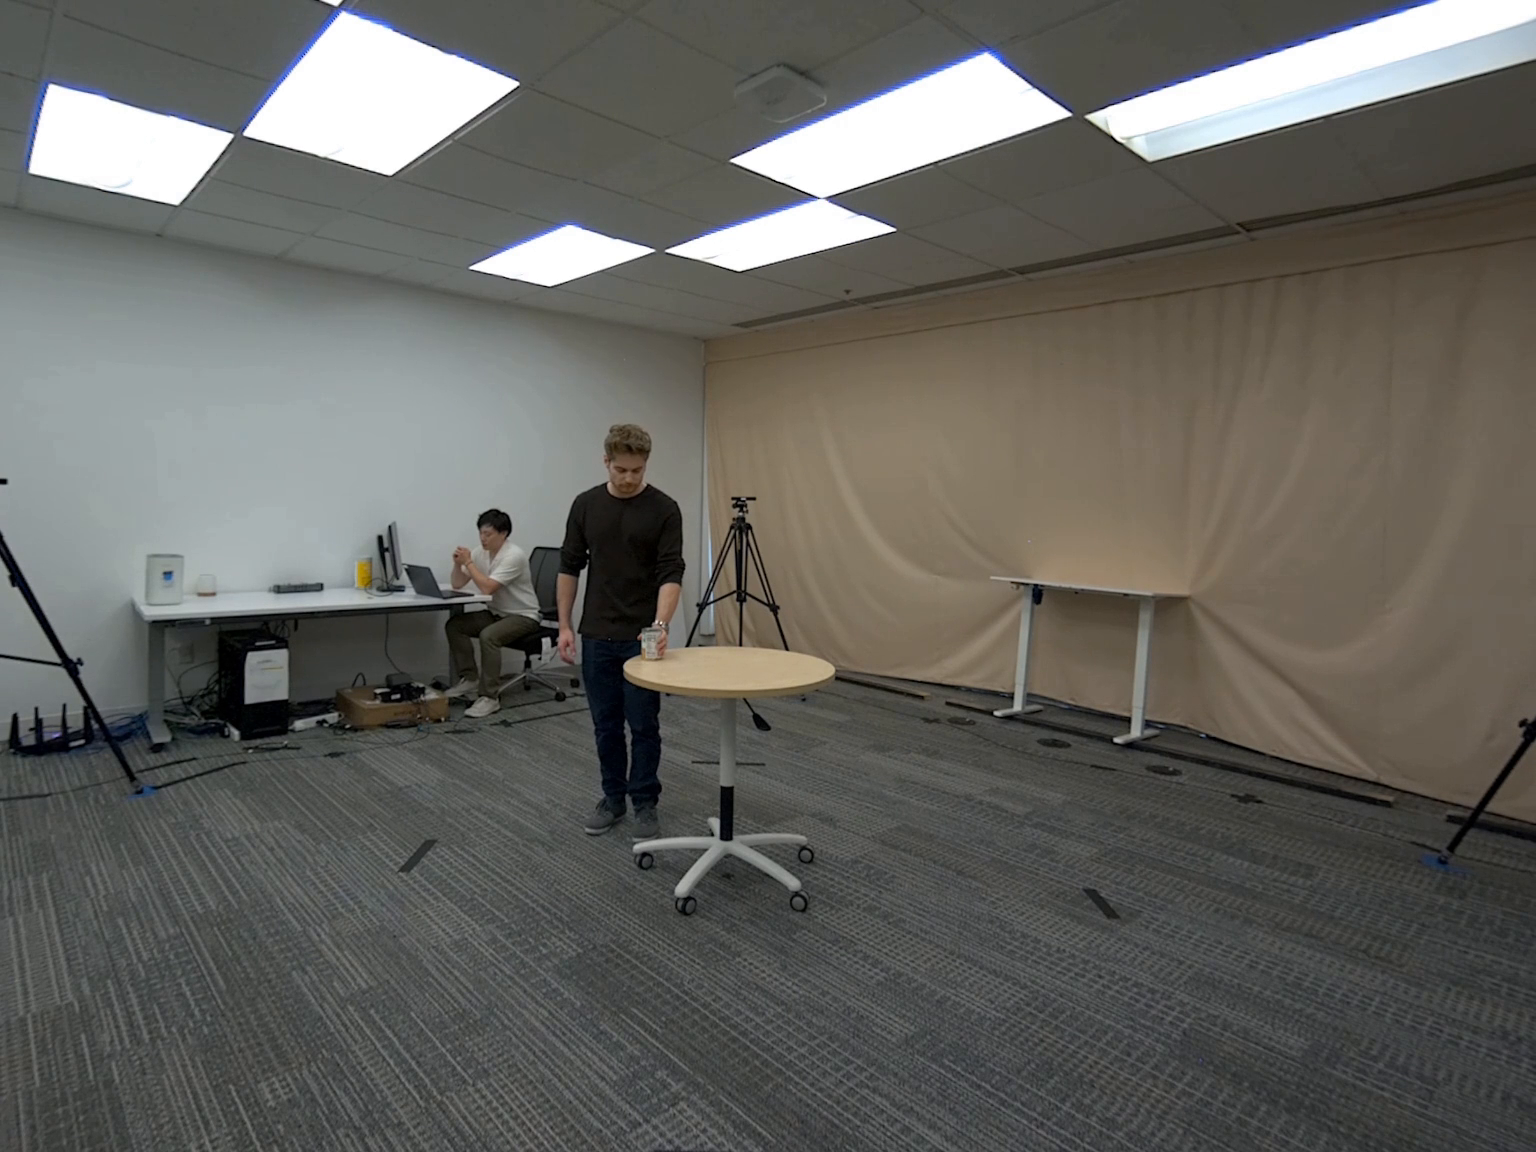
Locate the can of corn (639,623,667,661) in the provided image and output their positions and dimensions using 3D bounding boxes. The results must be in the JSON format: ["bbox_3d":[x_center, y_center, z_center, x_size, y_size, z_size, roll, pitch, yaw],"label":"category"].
[{"bbox_3d":[-0.449,0.257,3.153,0.074,0.111,0.074,1,0,-1],"label":"can of corn"}]
